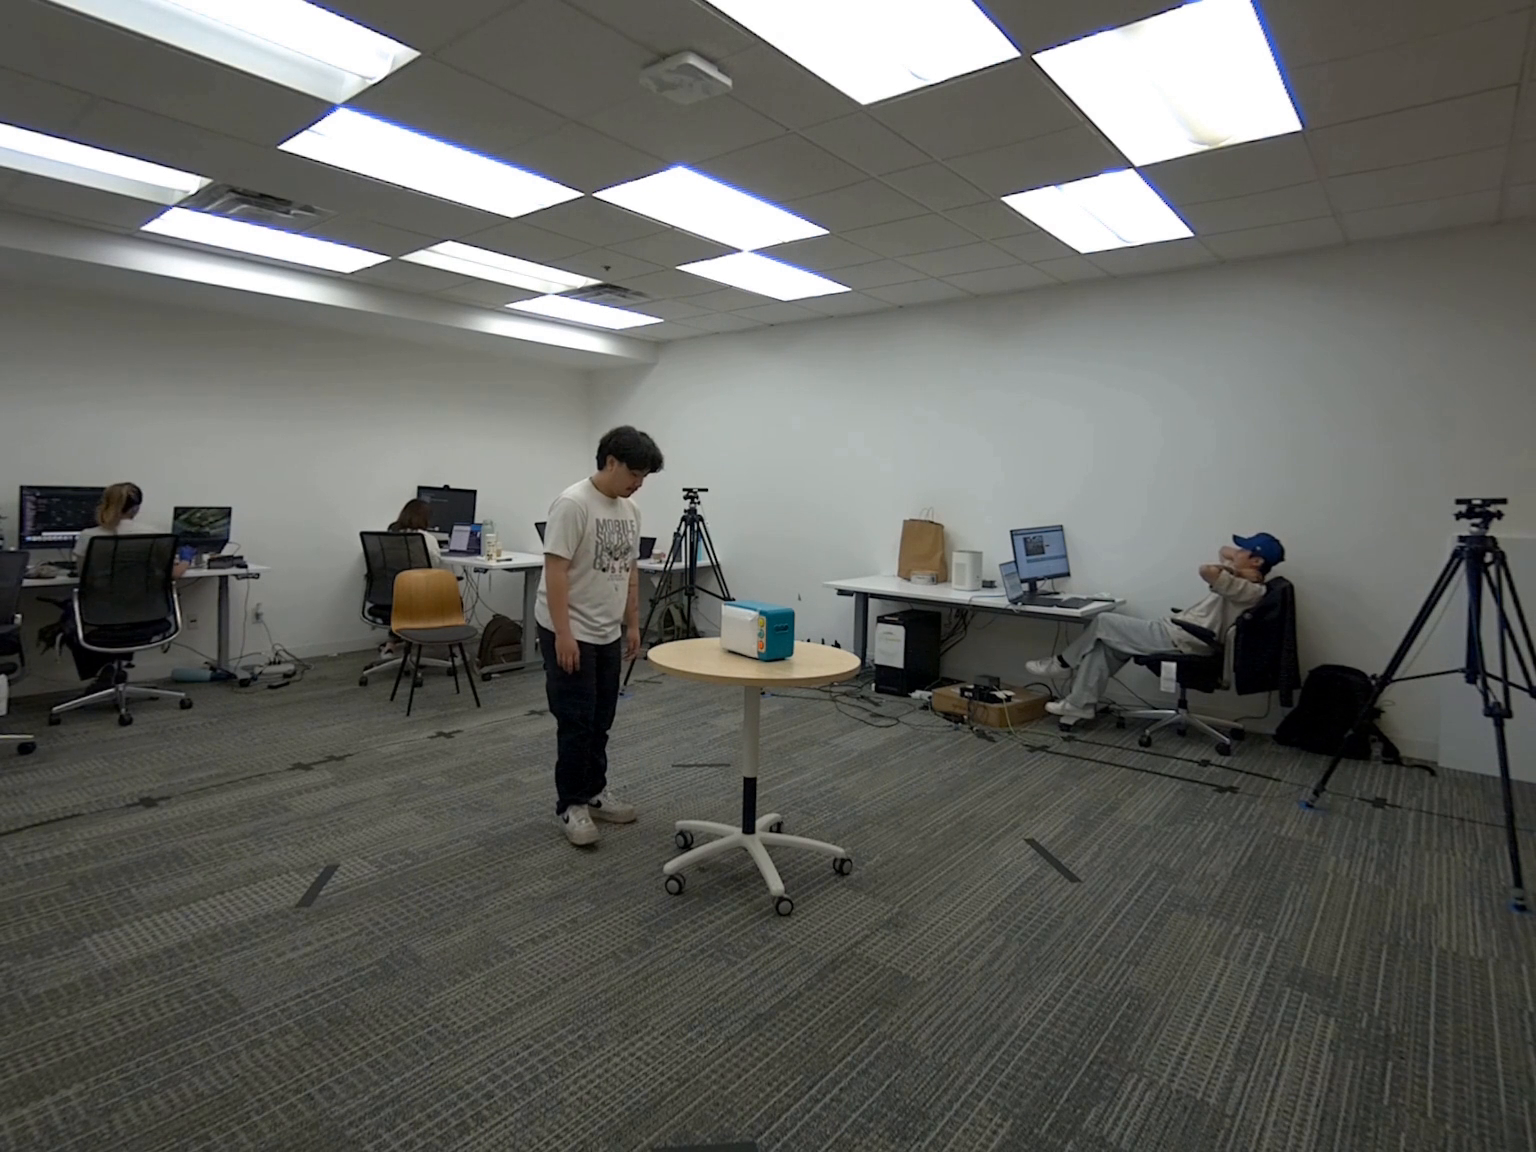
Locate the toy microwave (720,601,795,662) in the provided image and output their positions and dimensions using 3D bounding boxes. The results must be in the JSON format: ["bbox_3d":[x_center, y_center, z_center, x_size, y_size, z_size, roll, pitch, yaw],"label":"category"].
[{"bbox_3d":[-0.057,0.191,3.077,0.148,0.183,0.296,-2,6,-38],"label":"toy microwave"}]
